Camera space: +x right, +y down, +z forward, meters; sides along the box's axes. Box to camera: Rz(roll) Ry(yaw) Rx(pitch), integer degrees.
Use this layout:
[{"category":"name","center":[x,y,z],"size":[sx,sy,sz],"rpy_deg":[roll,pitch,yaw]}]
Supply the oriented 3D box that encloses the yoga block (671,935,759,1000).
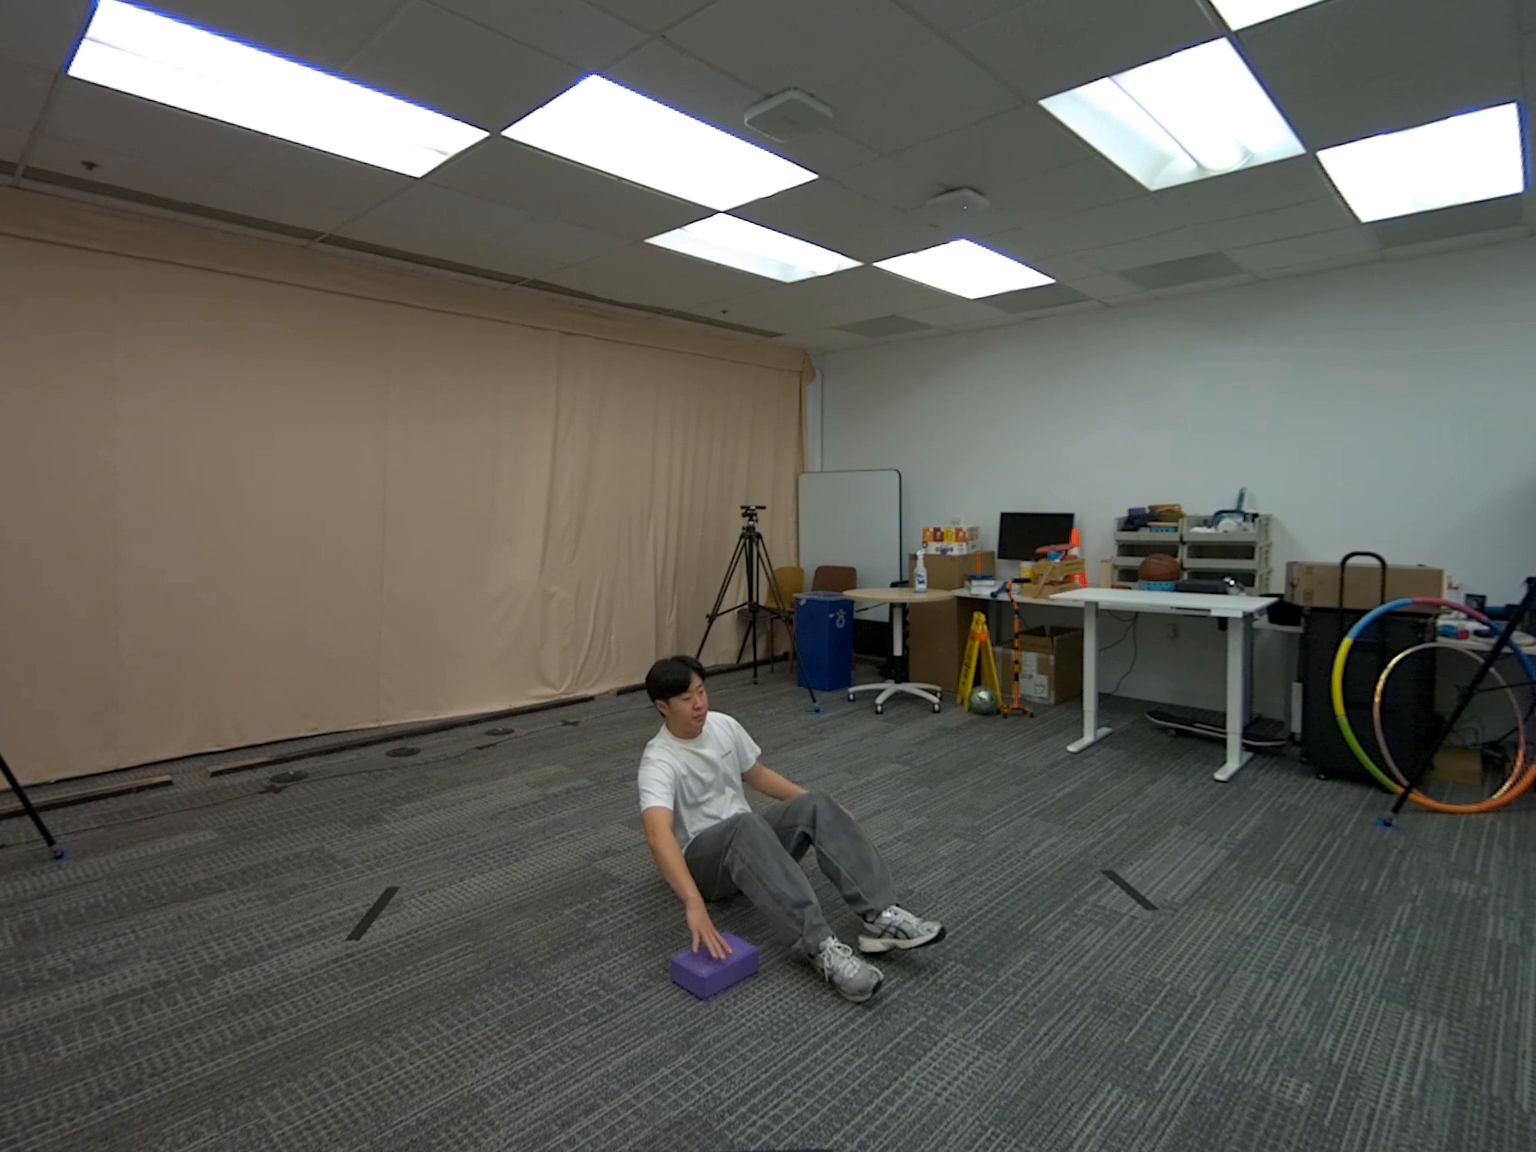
[{"category":"yoga block","center":[-0.157,1.140,2.495],"size":[0.154,0.076,0.222],"rpy_deg":[5,8,44]}]
